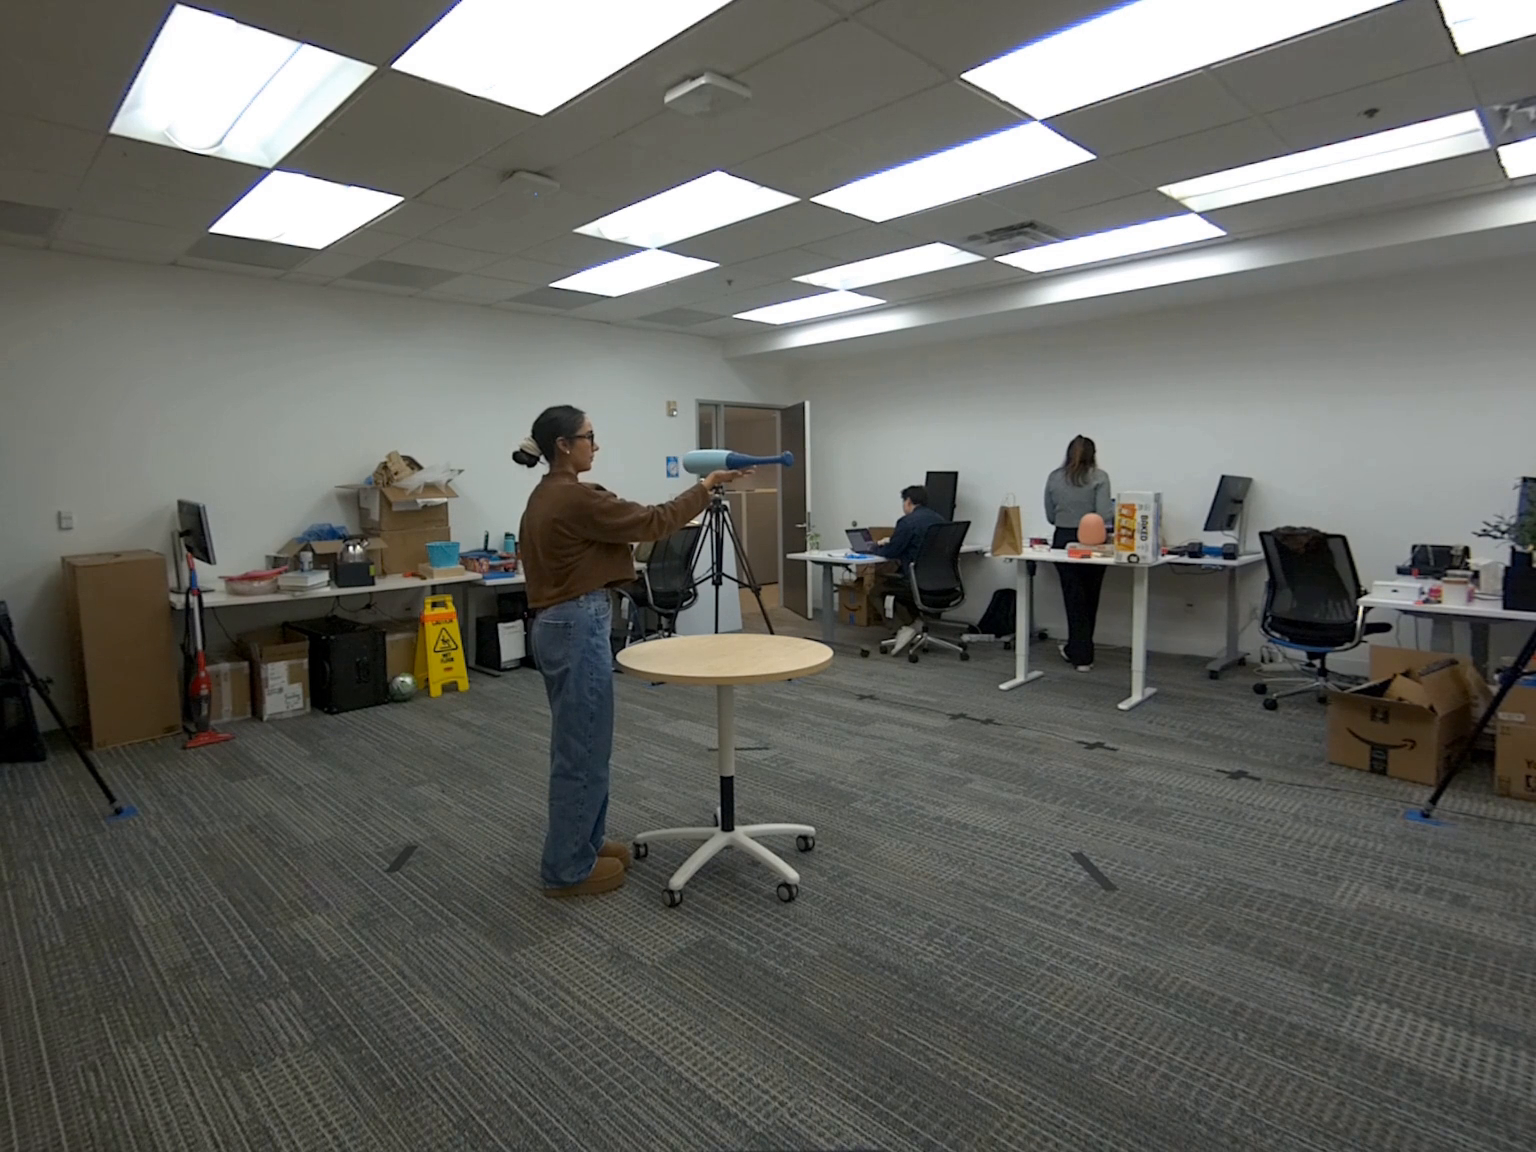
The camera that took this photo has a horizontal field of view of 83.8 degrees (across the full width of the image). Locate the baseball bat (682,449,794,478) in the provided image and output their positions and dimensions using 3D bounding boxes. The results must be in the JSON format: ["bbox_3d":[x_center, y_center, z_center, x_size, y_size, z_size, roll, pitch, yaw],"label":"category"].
[{"bbox_3d":[-0.111,-0.403,3.016,0.087,0.088,0.560,-5,8,-40],"label":"baseball bat"}]
